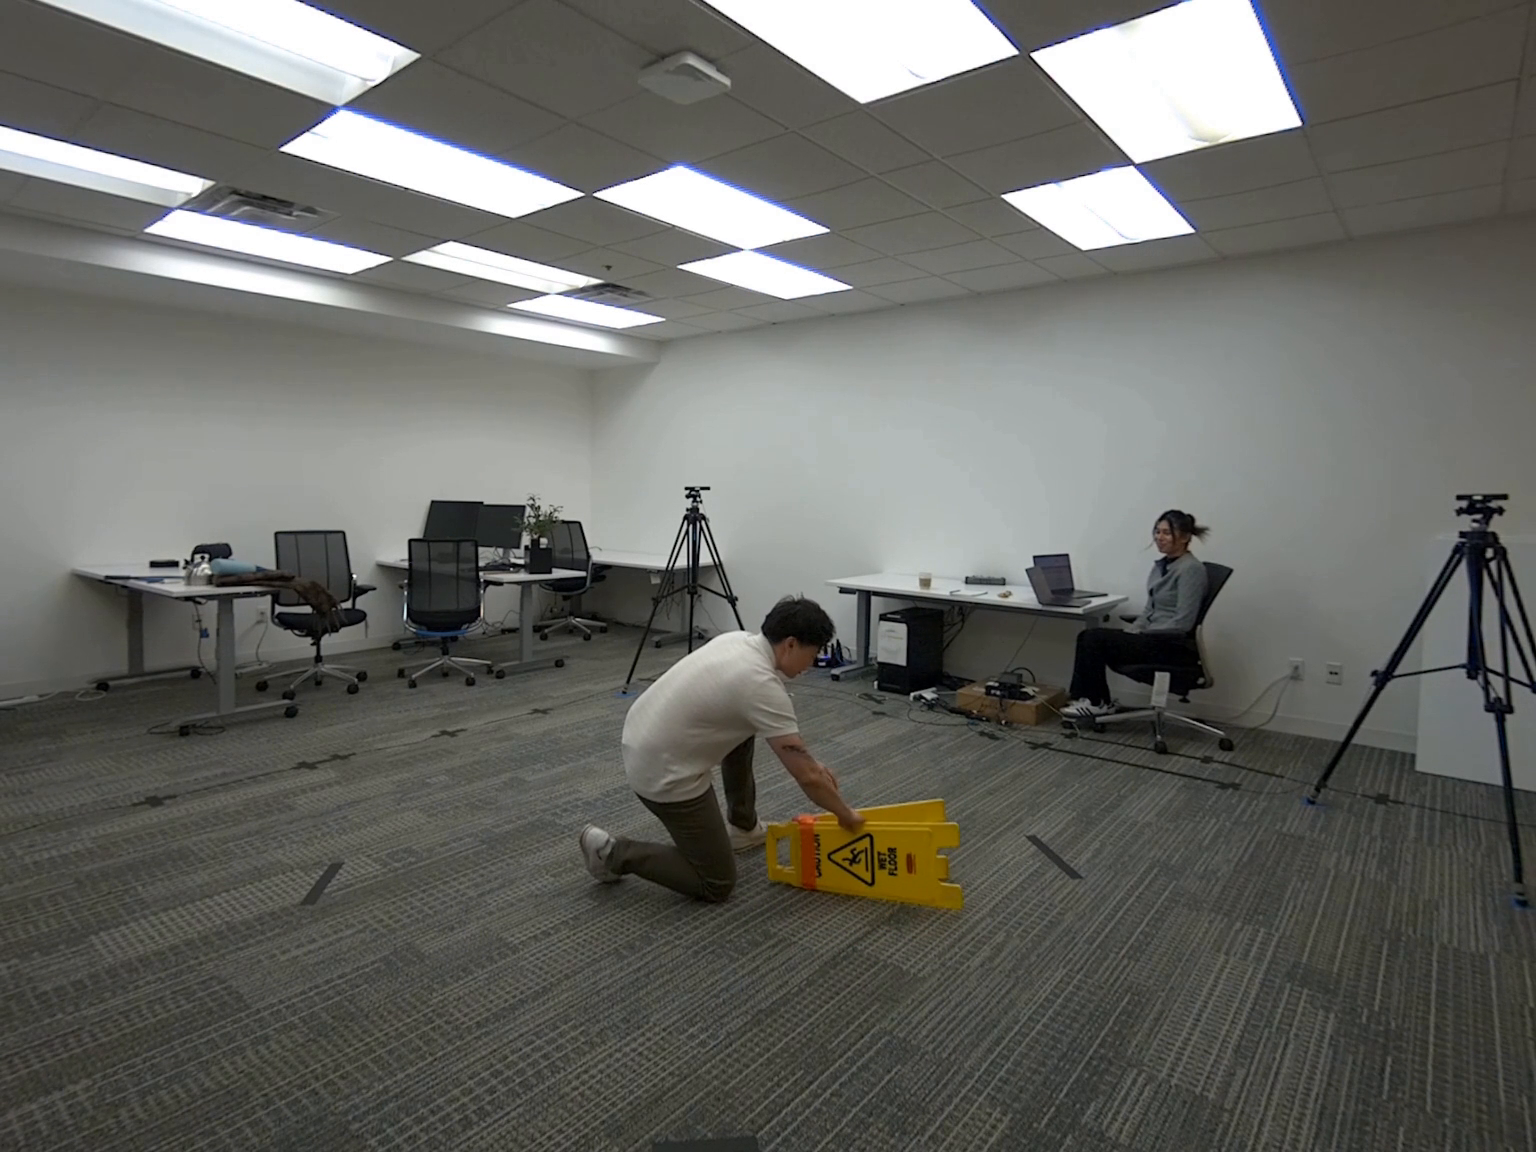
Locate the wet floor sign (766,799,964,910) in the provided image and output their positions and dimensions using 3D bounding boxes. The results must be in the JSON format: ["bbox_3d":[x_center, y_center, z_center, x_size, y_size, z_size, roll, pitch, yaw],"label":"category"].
[{"bbox_3d":[0.314,0.965,2.962,0.650,0.283,0.288,-3,0,5],"label":"wet floor sign"}]
